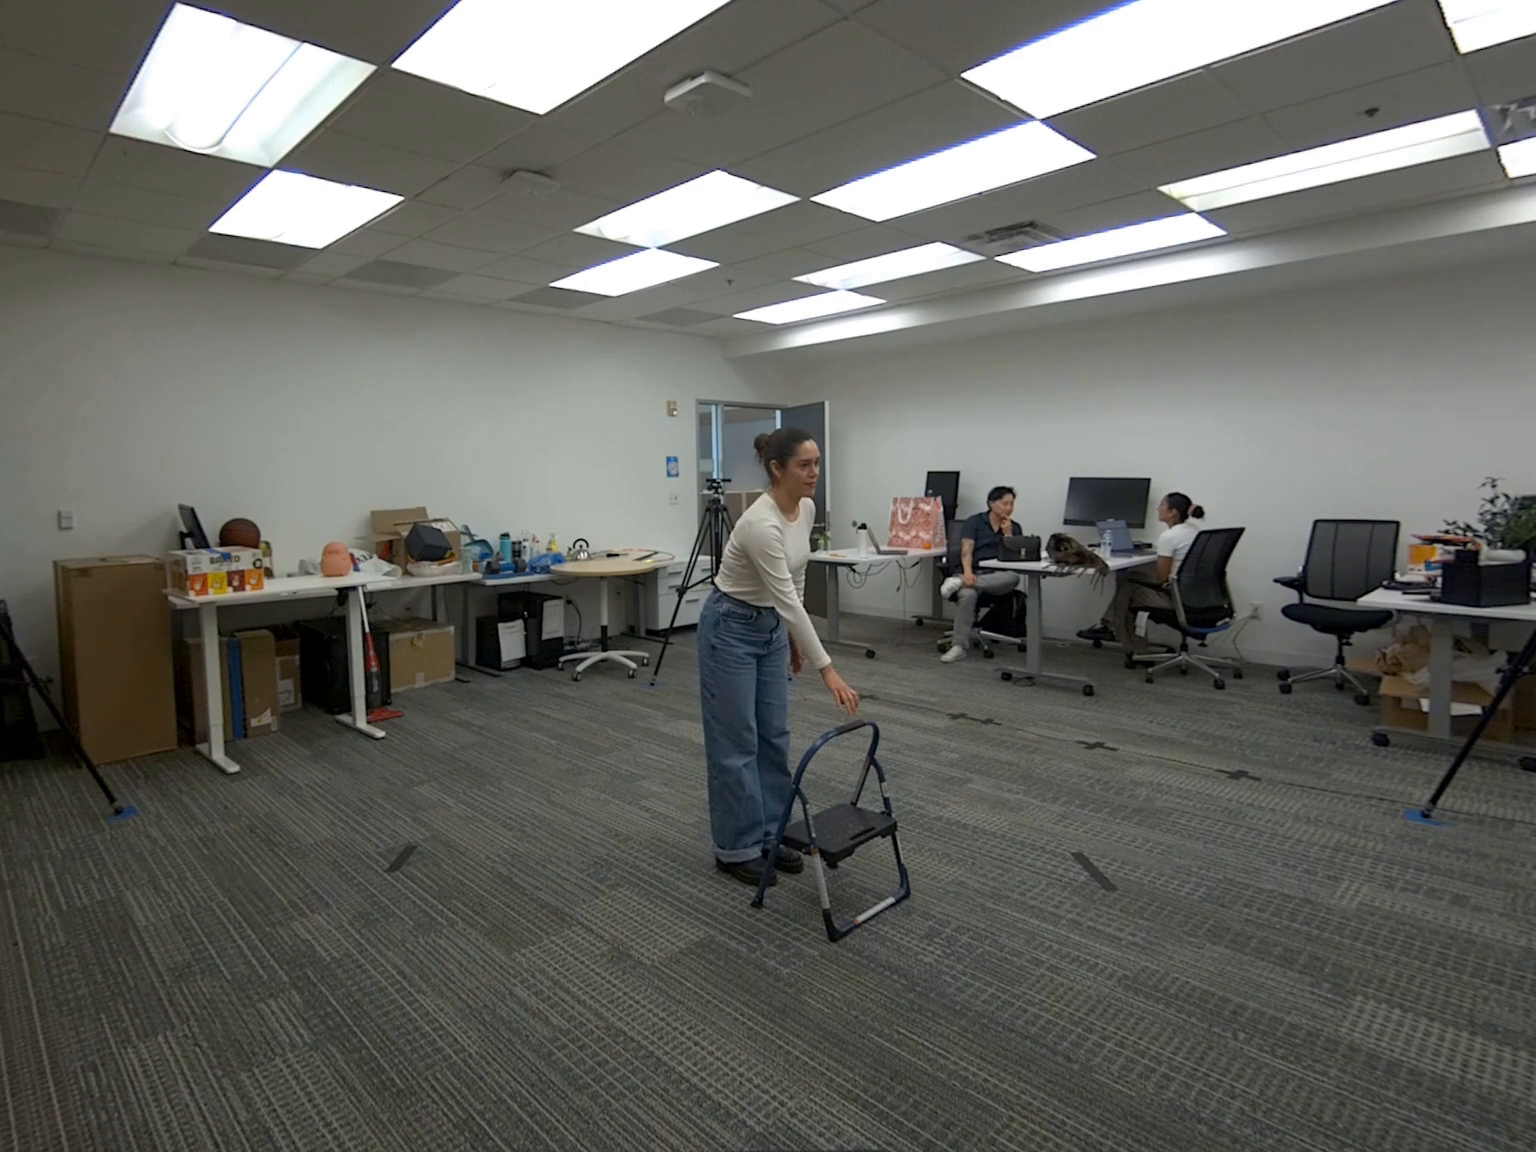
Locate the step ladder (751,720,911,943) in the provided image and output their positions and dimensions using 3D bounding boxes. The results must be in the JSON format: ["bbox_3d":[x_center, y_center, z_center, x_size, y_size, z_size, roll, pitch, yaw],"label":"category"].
[{"bbox_3d":[0.208,0.771,2.805,0.360,0.604,0.419,2,5,44],"label":"step ladder"}]
